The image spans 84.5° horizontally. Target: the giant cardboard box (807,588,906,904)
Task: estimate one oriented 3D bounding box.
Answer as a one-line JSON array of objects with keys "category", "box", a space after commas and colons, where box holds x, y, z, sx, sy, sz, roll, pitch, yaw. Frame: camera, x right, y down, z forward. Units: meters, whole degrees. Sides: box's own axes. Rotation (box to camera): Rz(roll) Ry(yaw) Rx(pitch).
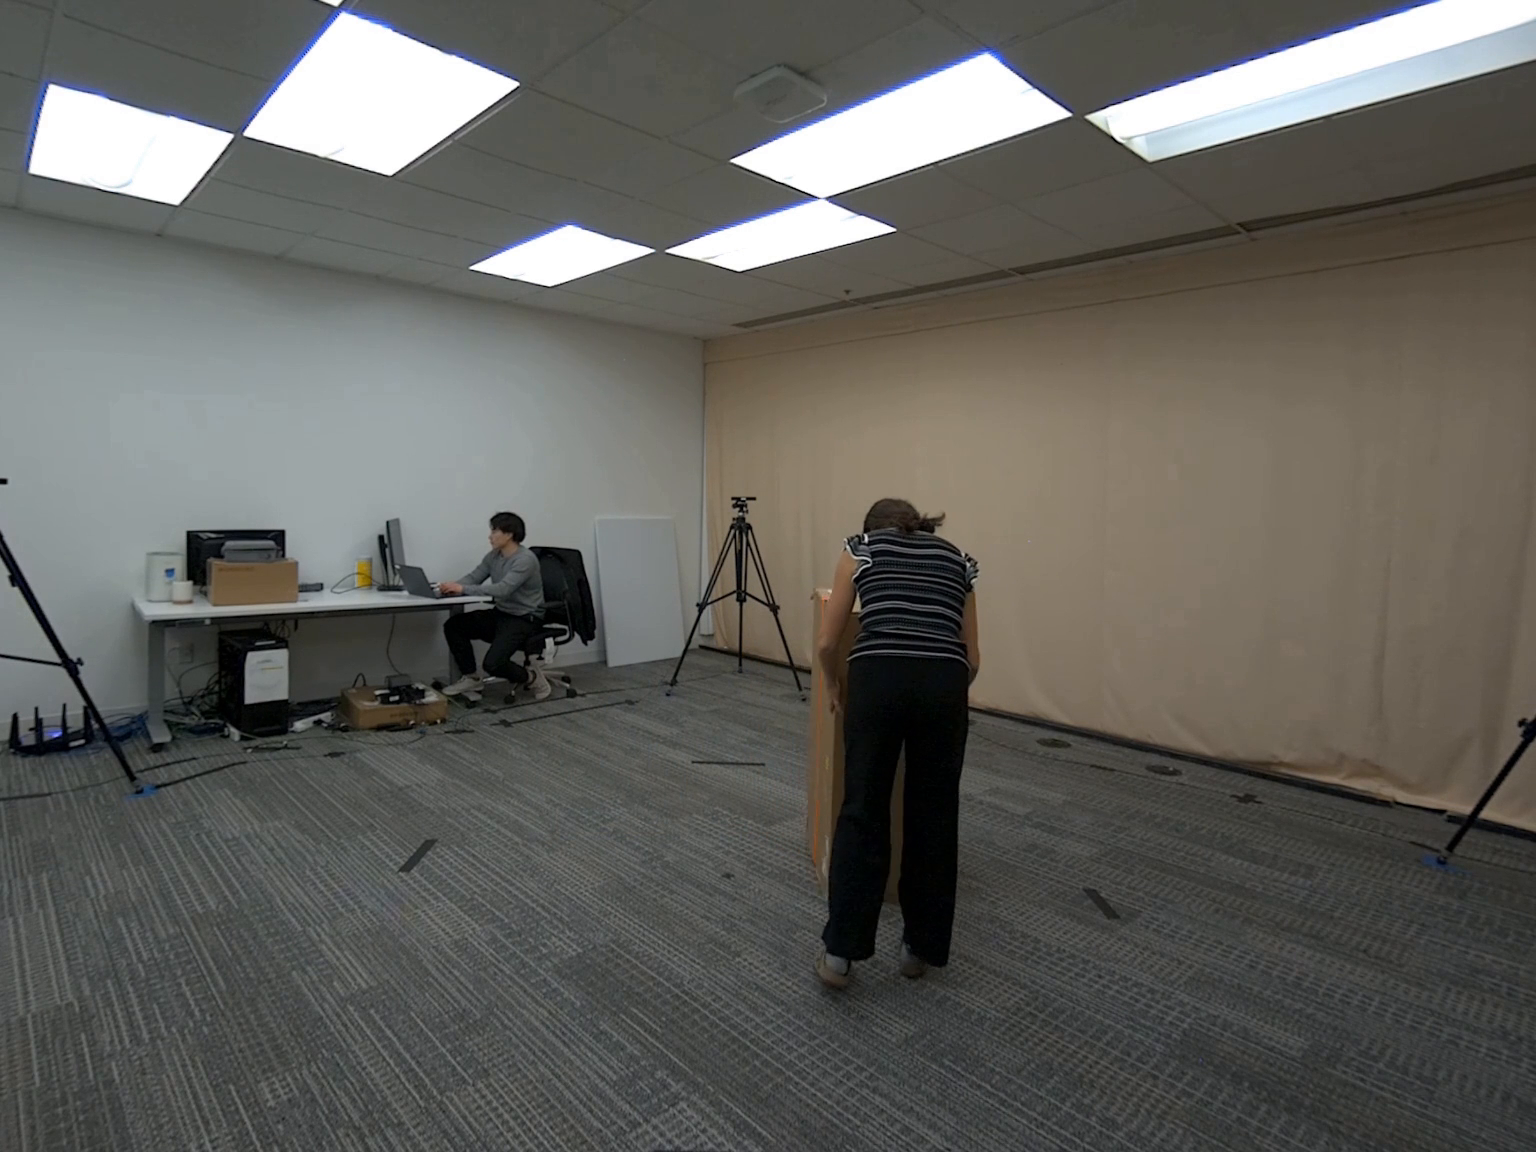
[{"category": "giant cardboard box", "box": [0.399, 0.596, 3.154, 0.425, 1.022, 0.581, 1, 5, -4]}]
